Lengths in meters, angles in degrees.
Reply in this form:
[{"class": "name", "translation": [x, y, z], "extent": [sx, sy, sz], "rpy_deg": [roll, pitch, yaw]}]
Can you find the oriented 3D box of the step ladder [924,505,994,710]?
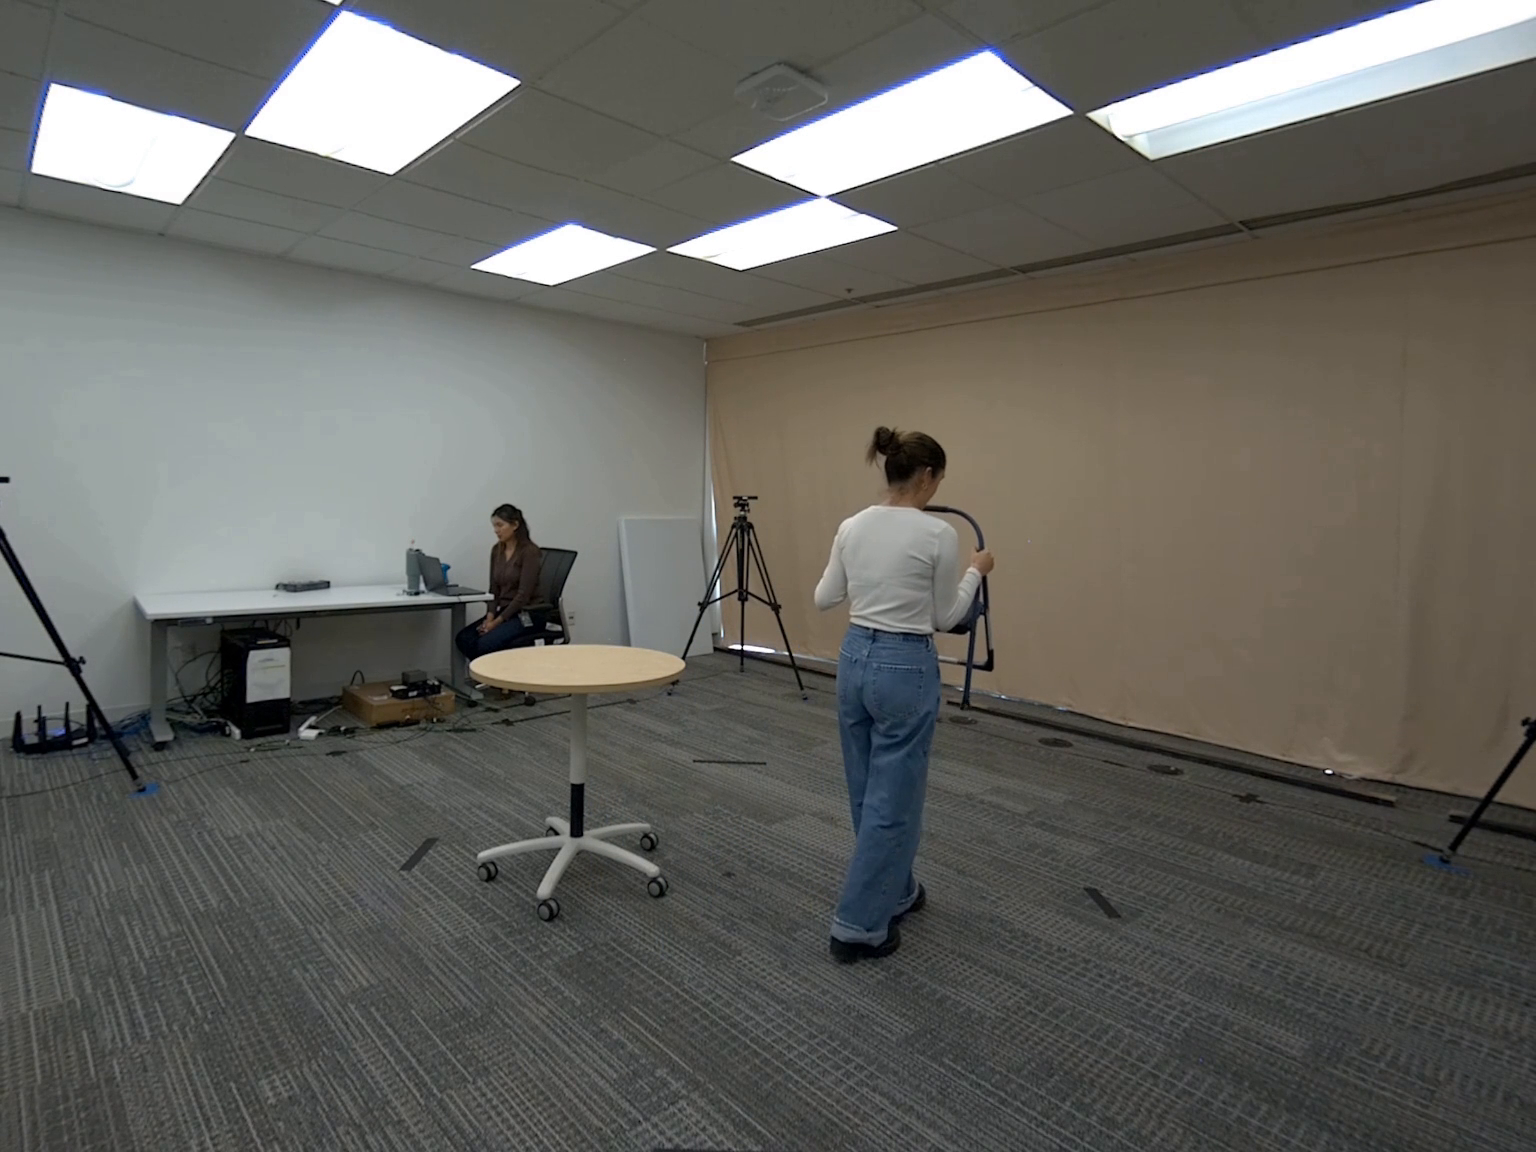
[{"class": "step ladder", "translation": [0.522, 0.067, 2.873], "extent": [0.440, 0.599, 0.345], "rpy_deg": [6, 17, 29]}]
